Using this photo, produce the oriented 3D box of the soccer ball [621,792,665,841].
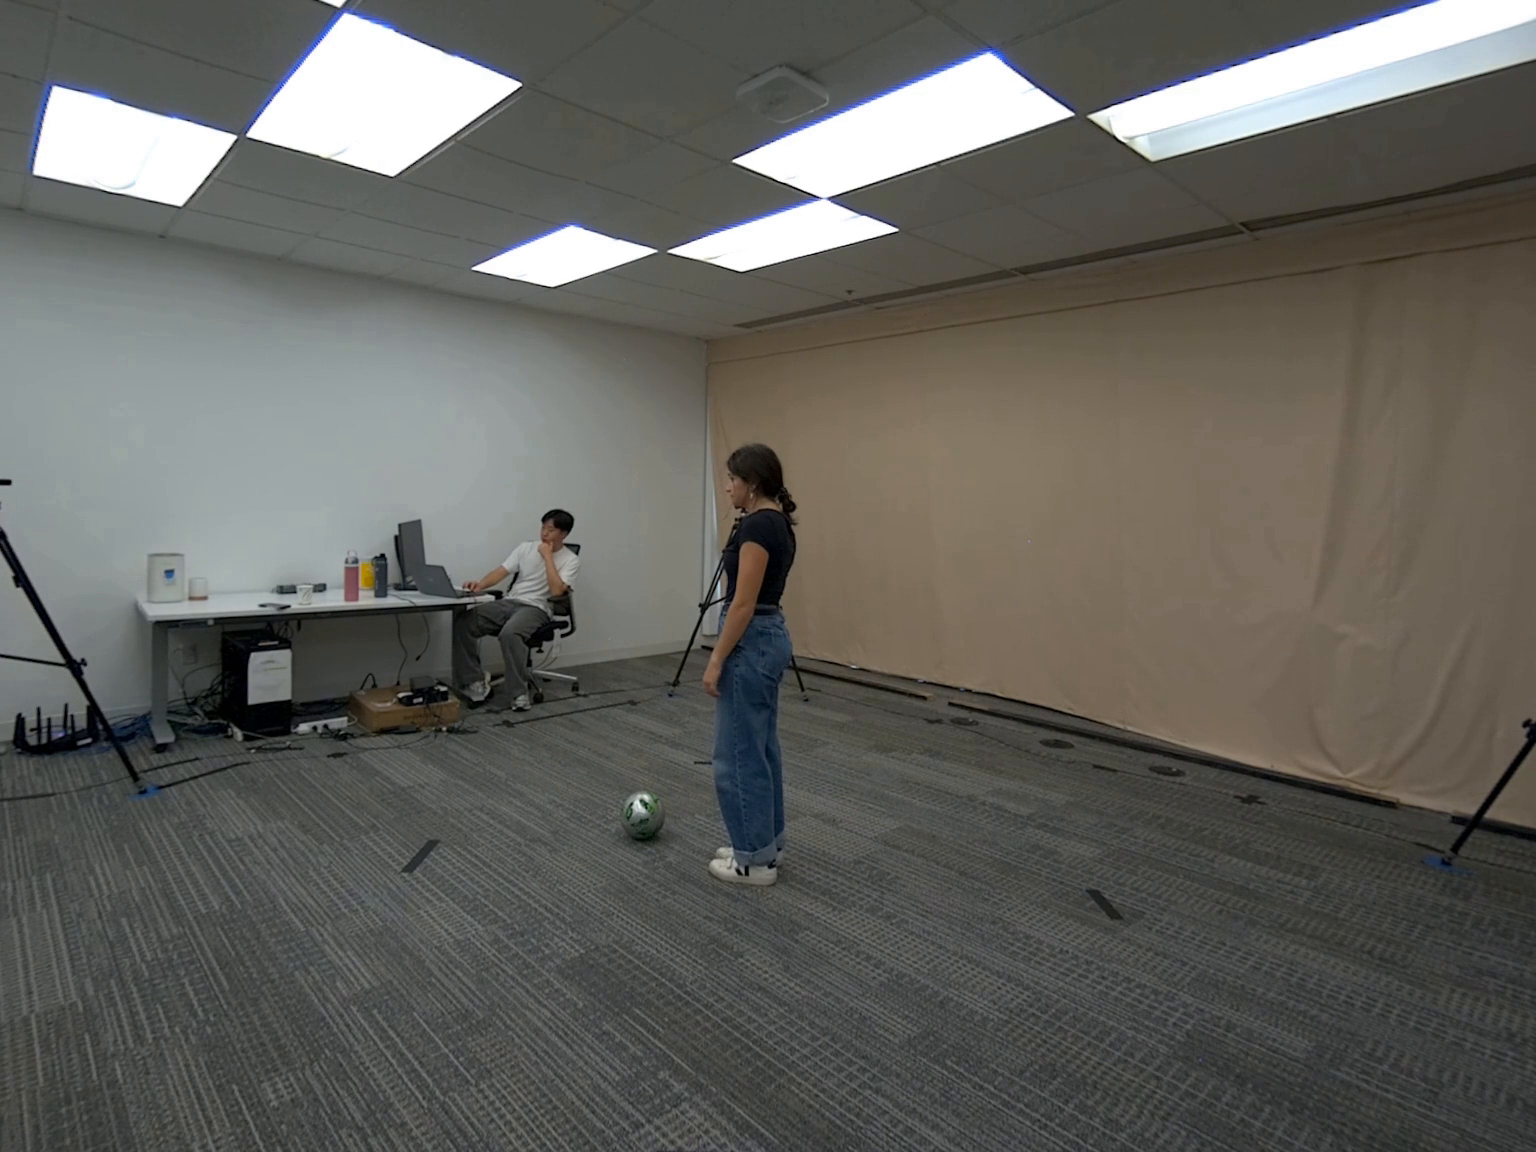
[{"bbox_3d":[-0.520,0.976,3.433,0.187,0.187,0.188,1,4,-1],"label":"soccer ball"}]
